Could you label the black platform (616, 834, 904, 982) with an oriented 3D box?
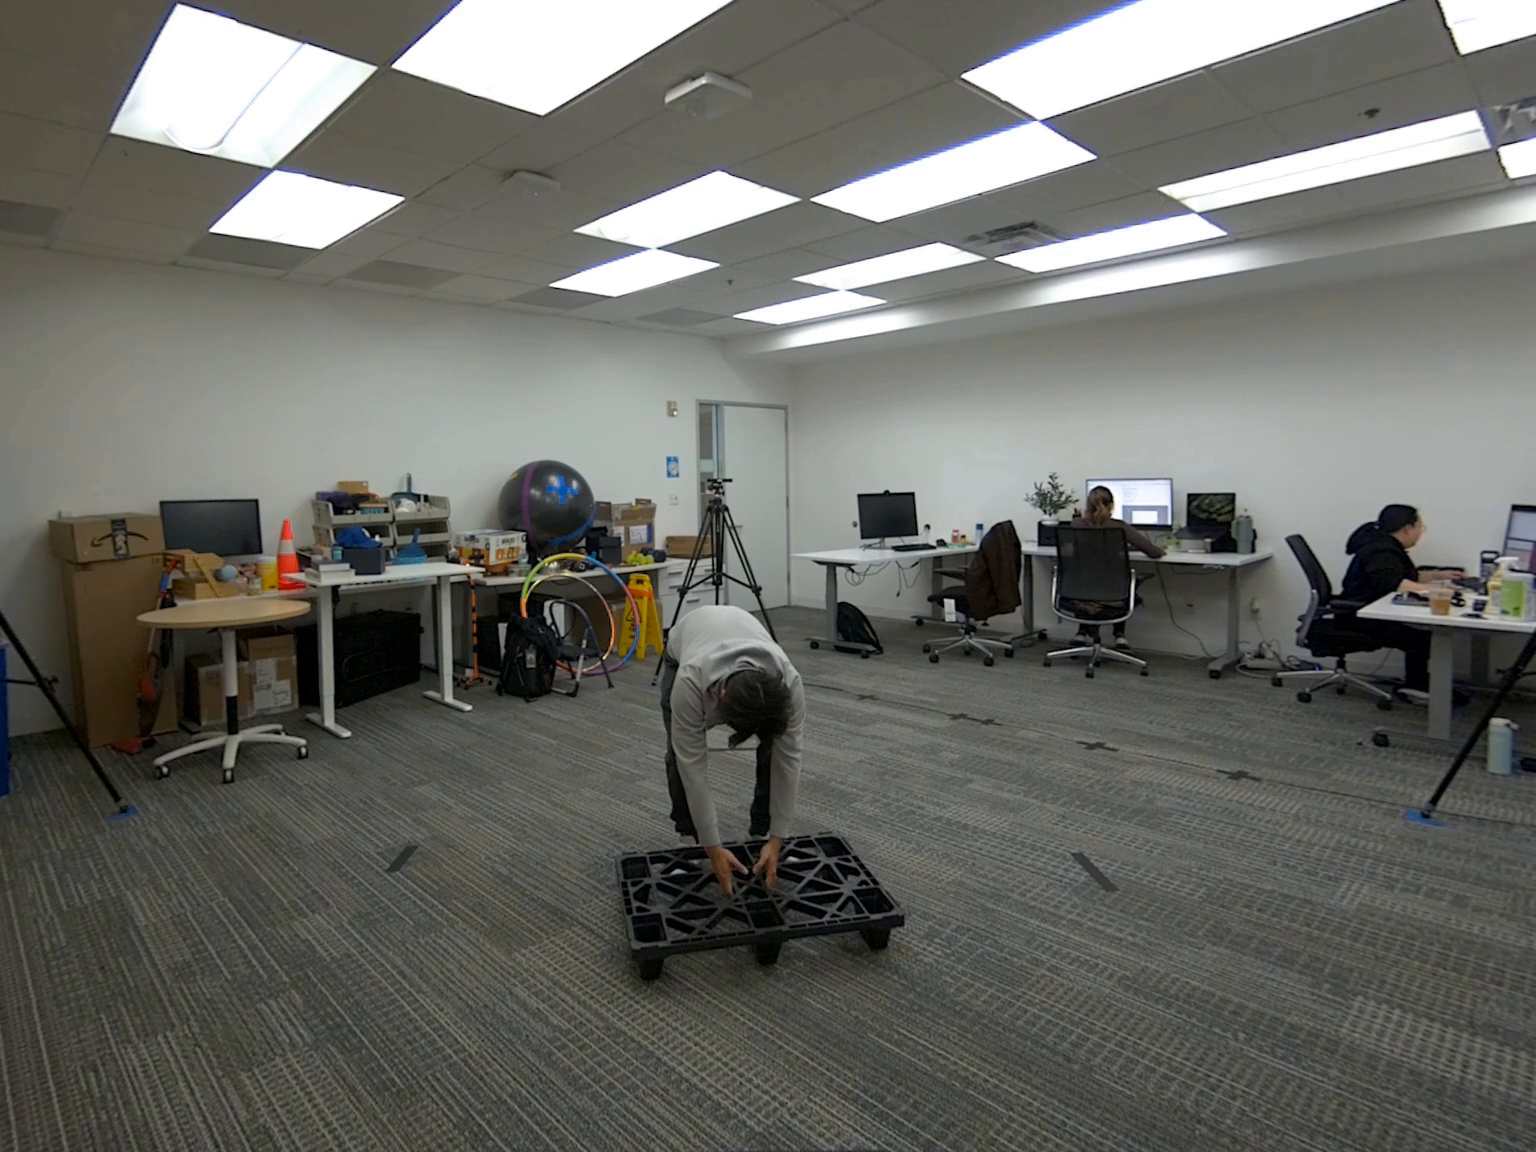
[{"bbox_3d":[-0.053,1.026,2.681,0.797,0.142,0.615,-3,7,-12],"label":"black platform"}]
